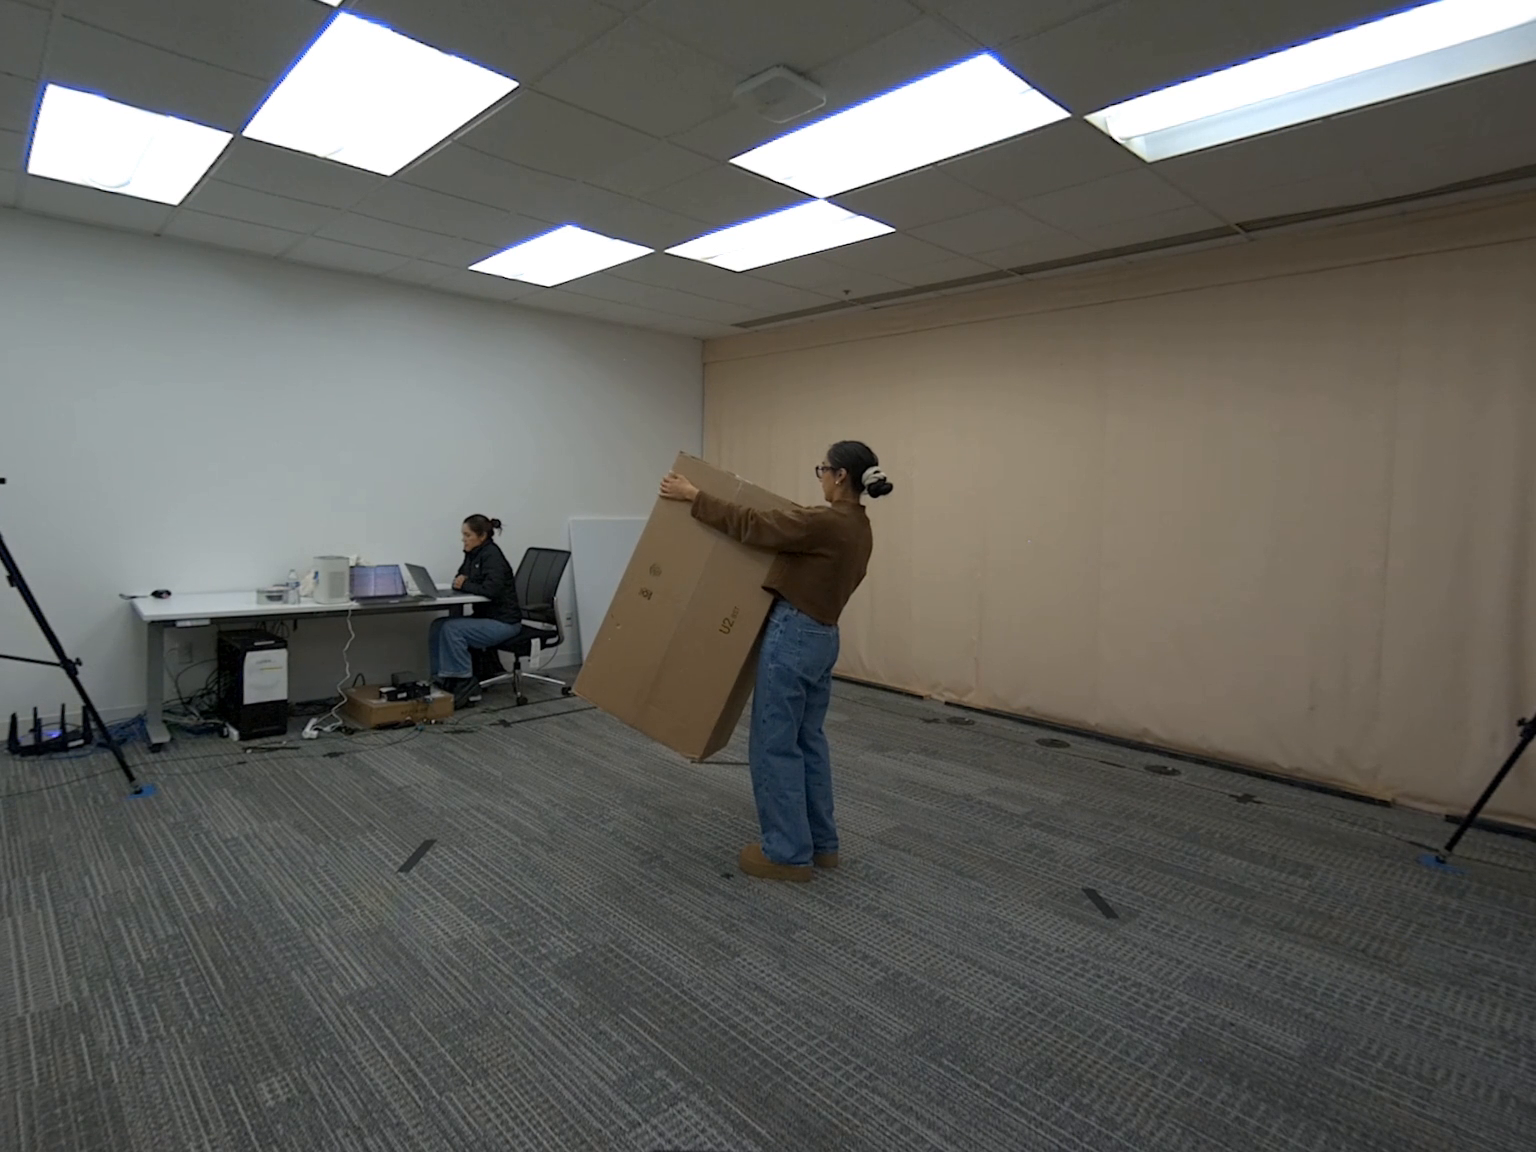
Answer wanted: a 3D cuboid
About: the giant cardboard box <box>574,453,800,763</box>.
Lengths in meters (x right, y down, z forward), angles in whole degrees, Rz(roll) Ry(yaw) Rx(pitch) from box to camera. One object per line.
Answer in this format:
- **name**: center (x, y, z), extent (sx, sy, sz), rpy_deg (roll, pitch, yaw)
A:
- **giant cardboard box**: center (-0.257, 0.115, 3.342), extent (0.587, 1.024, 0.420), rpy_deg (25, 4, 16)
